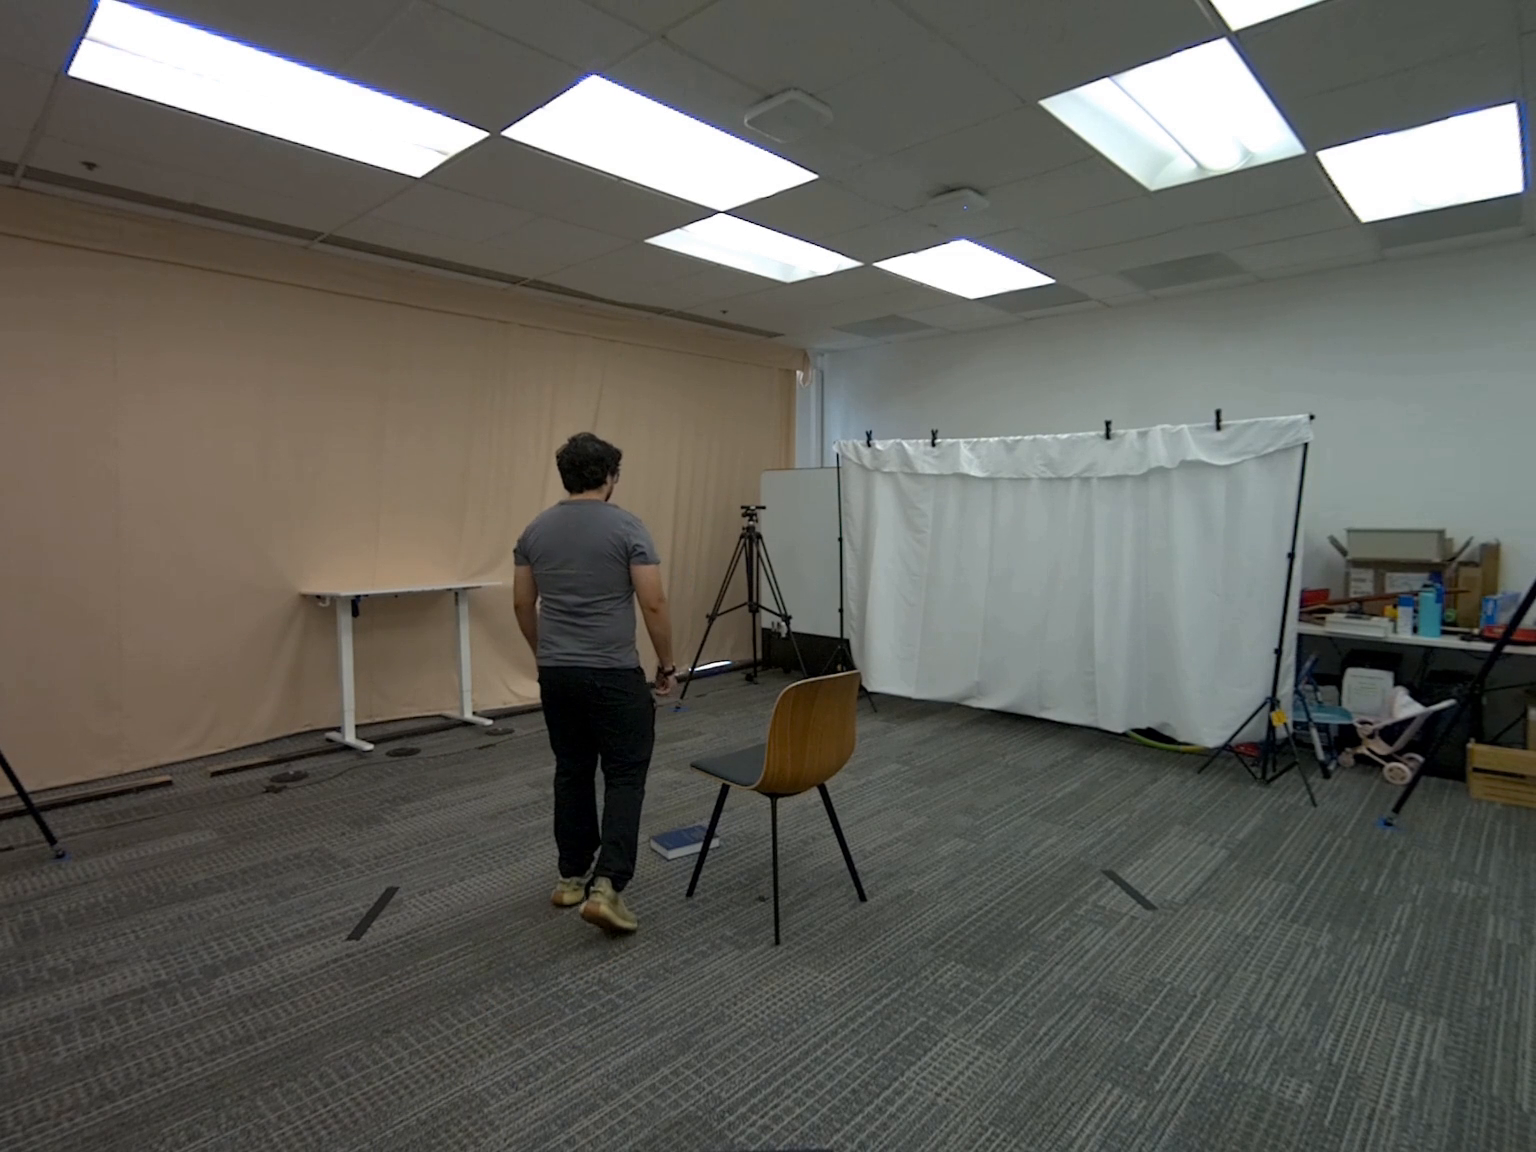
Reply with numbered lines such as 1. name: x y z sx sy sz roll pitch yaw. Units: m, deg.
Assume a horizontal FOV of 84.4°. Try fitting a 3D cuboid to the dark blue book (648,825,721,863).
1. dark blue book: -0.341 1.083 3.434 0.238 0.045 0.168 -3 5 -34
